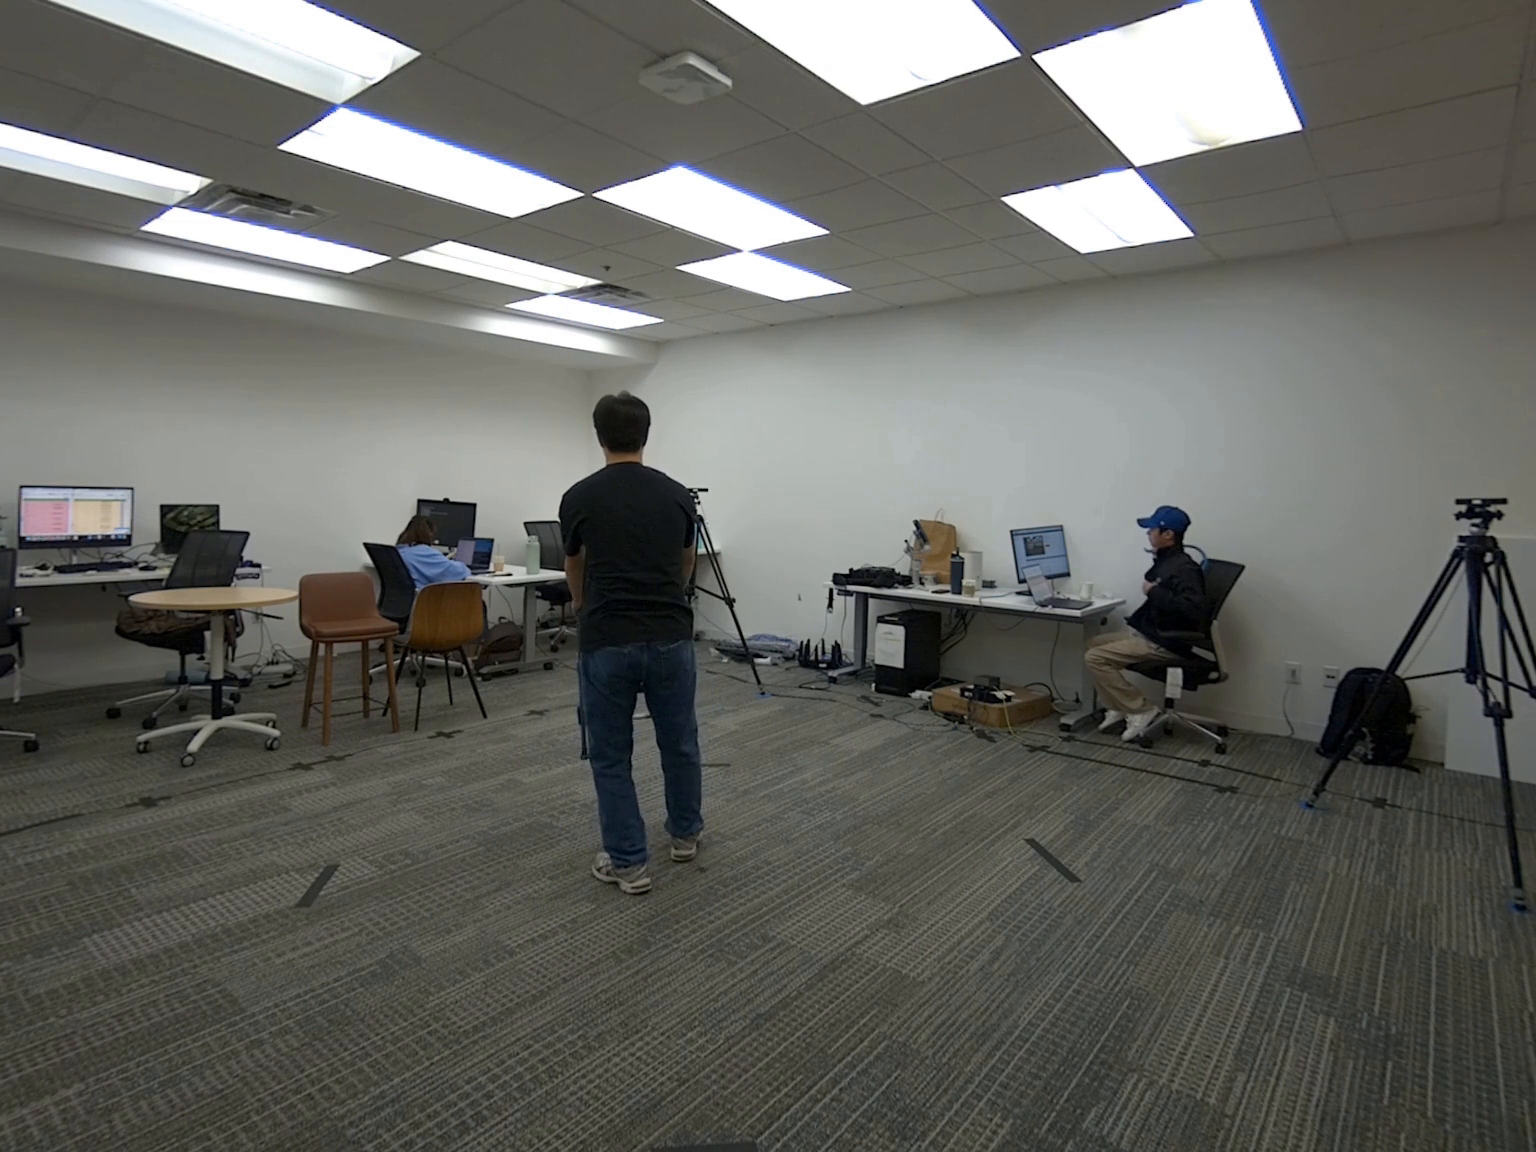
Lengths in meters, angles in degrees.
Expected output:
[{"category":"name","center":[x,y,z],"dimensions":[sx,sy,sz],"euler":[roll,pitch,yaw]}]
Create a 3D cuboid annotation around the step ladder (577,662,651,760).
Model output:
[{"category":"step ladder","center":[-0.578,0.375,3.469],"dimensions":[0.425,0.599,0.358],"euler":[-2,12,-14]}]
